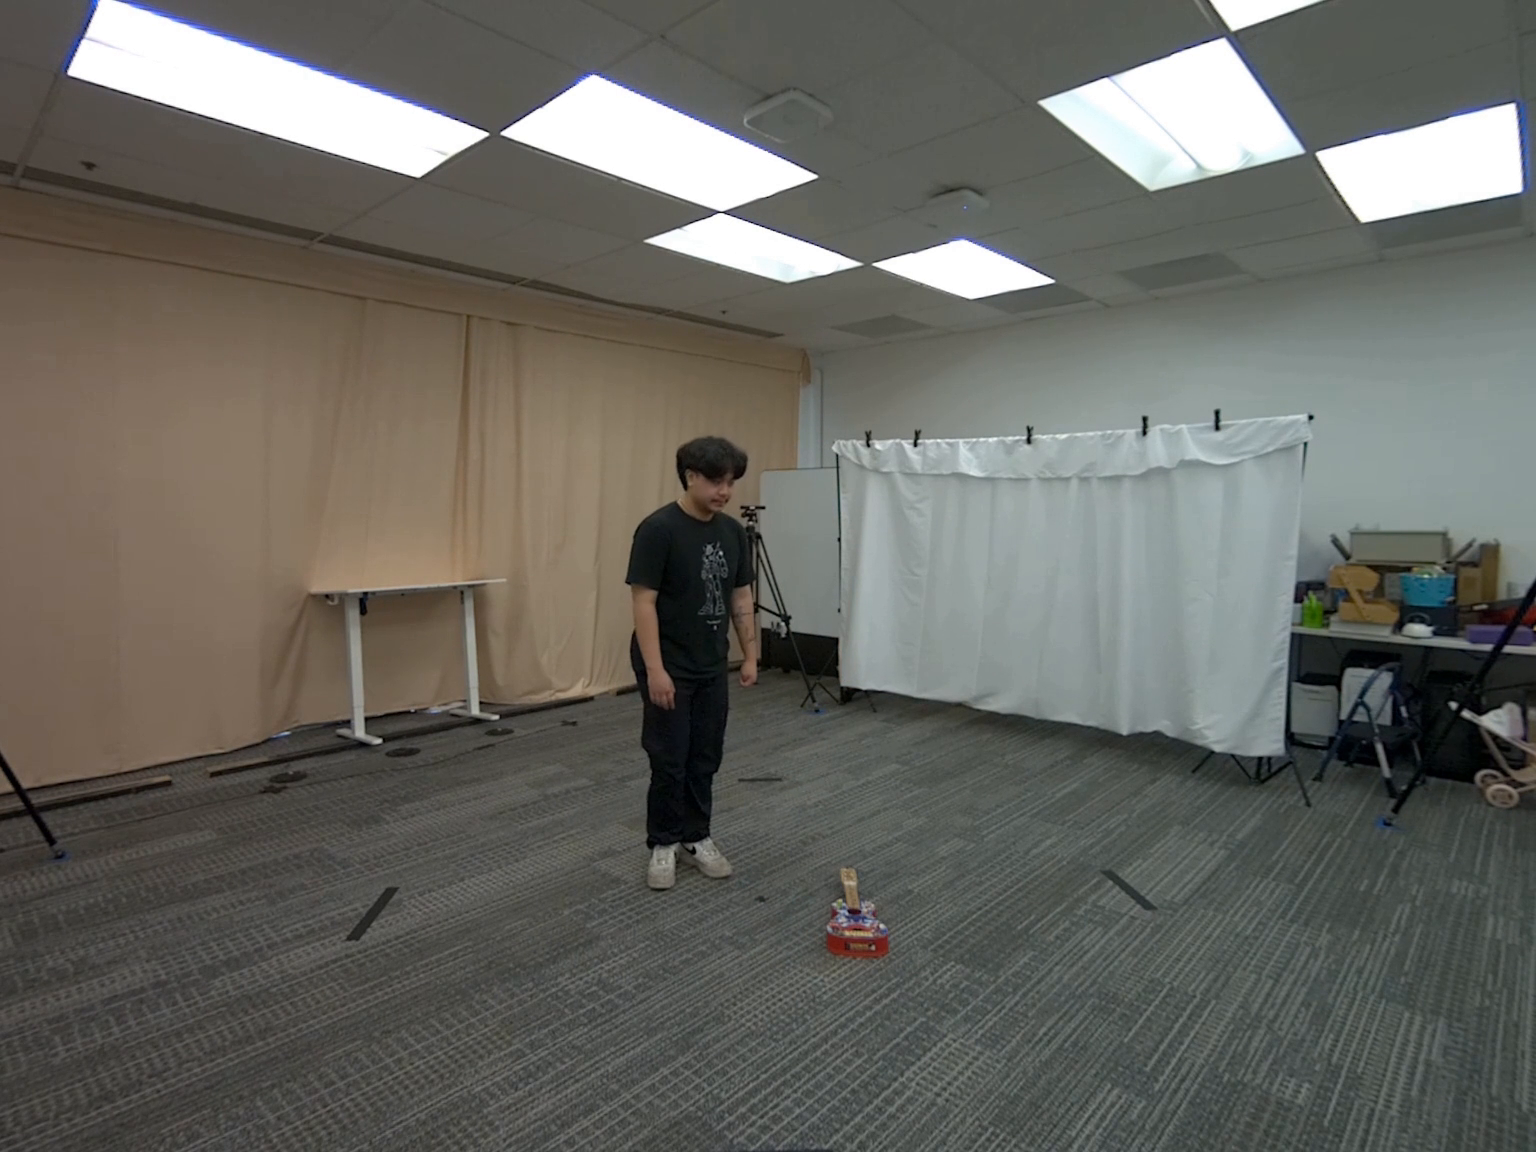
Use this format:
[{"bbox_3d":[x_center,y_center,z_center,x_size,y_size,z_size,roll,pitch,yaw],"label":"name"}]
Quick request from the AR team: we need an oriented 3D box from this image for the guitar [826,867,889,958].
[{"bbox_3d":[0.316,1.120,2.834,0.195,0.070,0.493,0,6,11],"label":"guitar"}]
